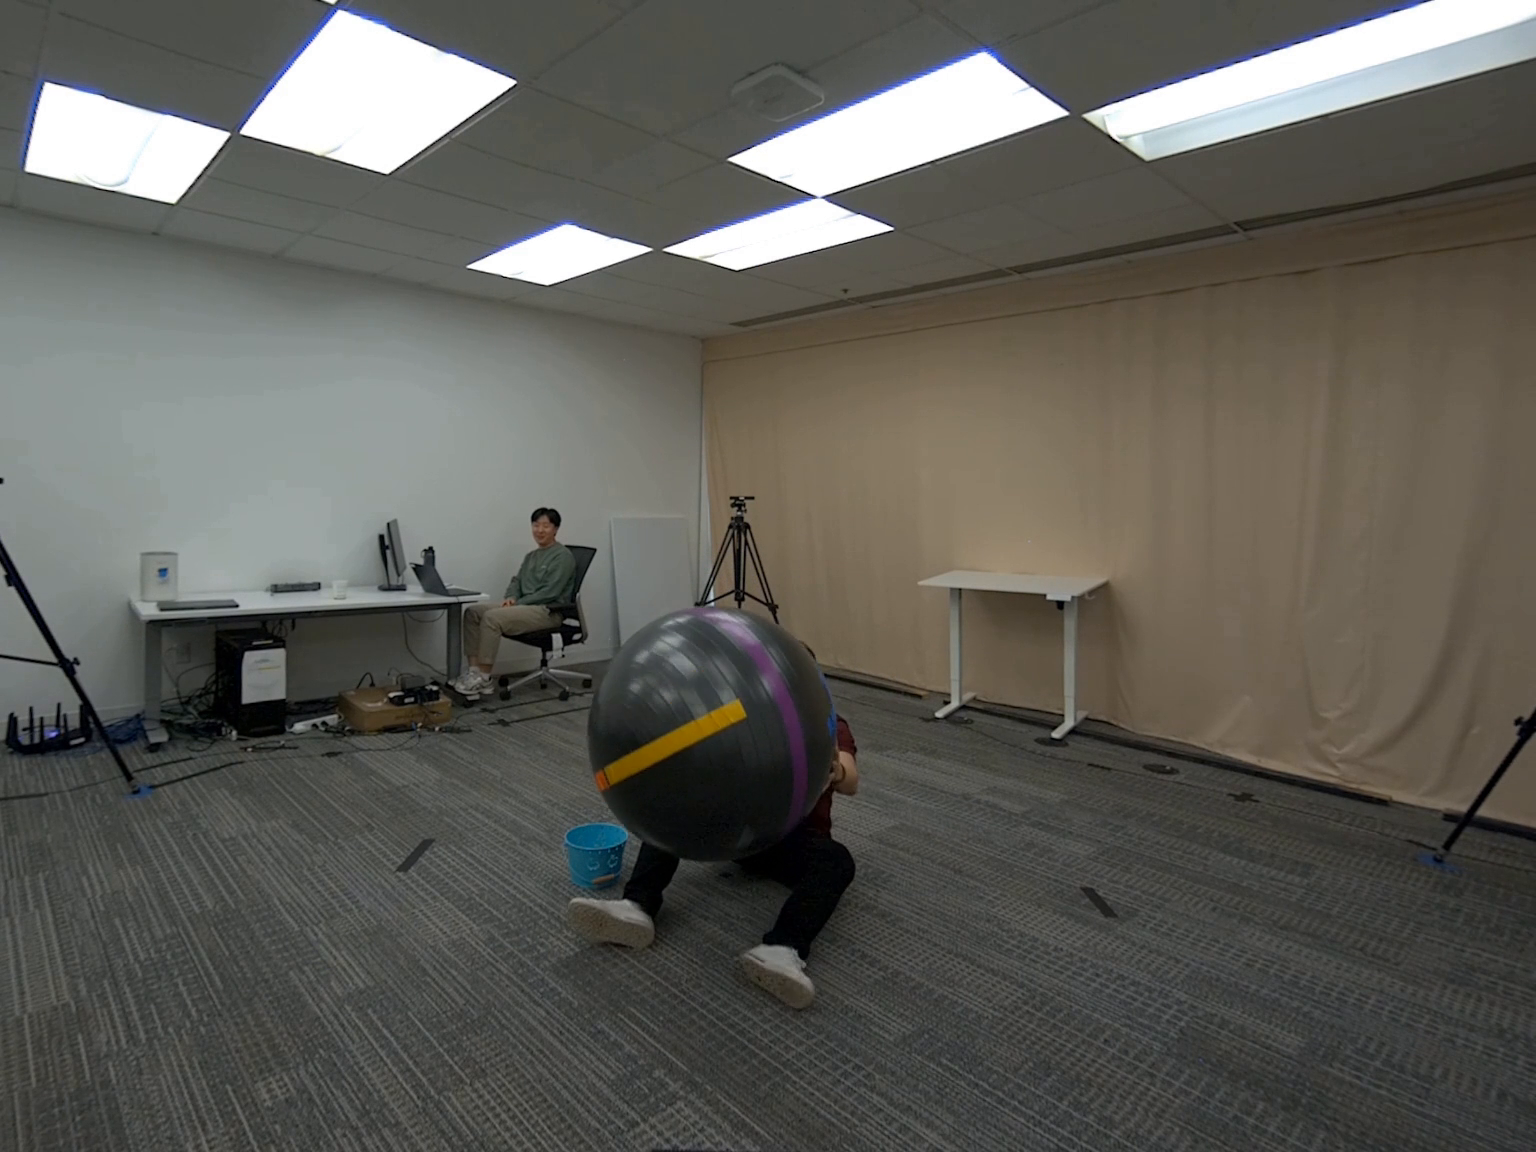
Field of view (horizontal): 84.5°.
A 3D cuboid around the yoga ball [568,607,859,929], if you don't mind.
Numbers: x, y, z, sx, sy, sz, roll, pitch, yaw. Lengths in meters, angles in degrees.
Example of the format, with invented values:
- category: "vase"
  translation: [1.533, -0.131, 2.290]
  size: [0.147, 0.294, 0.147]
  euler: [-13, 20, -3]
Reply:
- category: "yoga ball"
  translation: [-0.175, 0.480, 2.574]
  size: [0.757, 0.756, 0.761]
  euler: [1, 4, -1]
